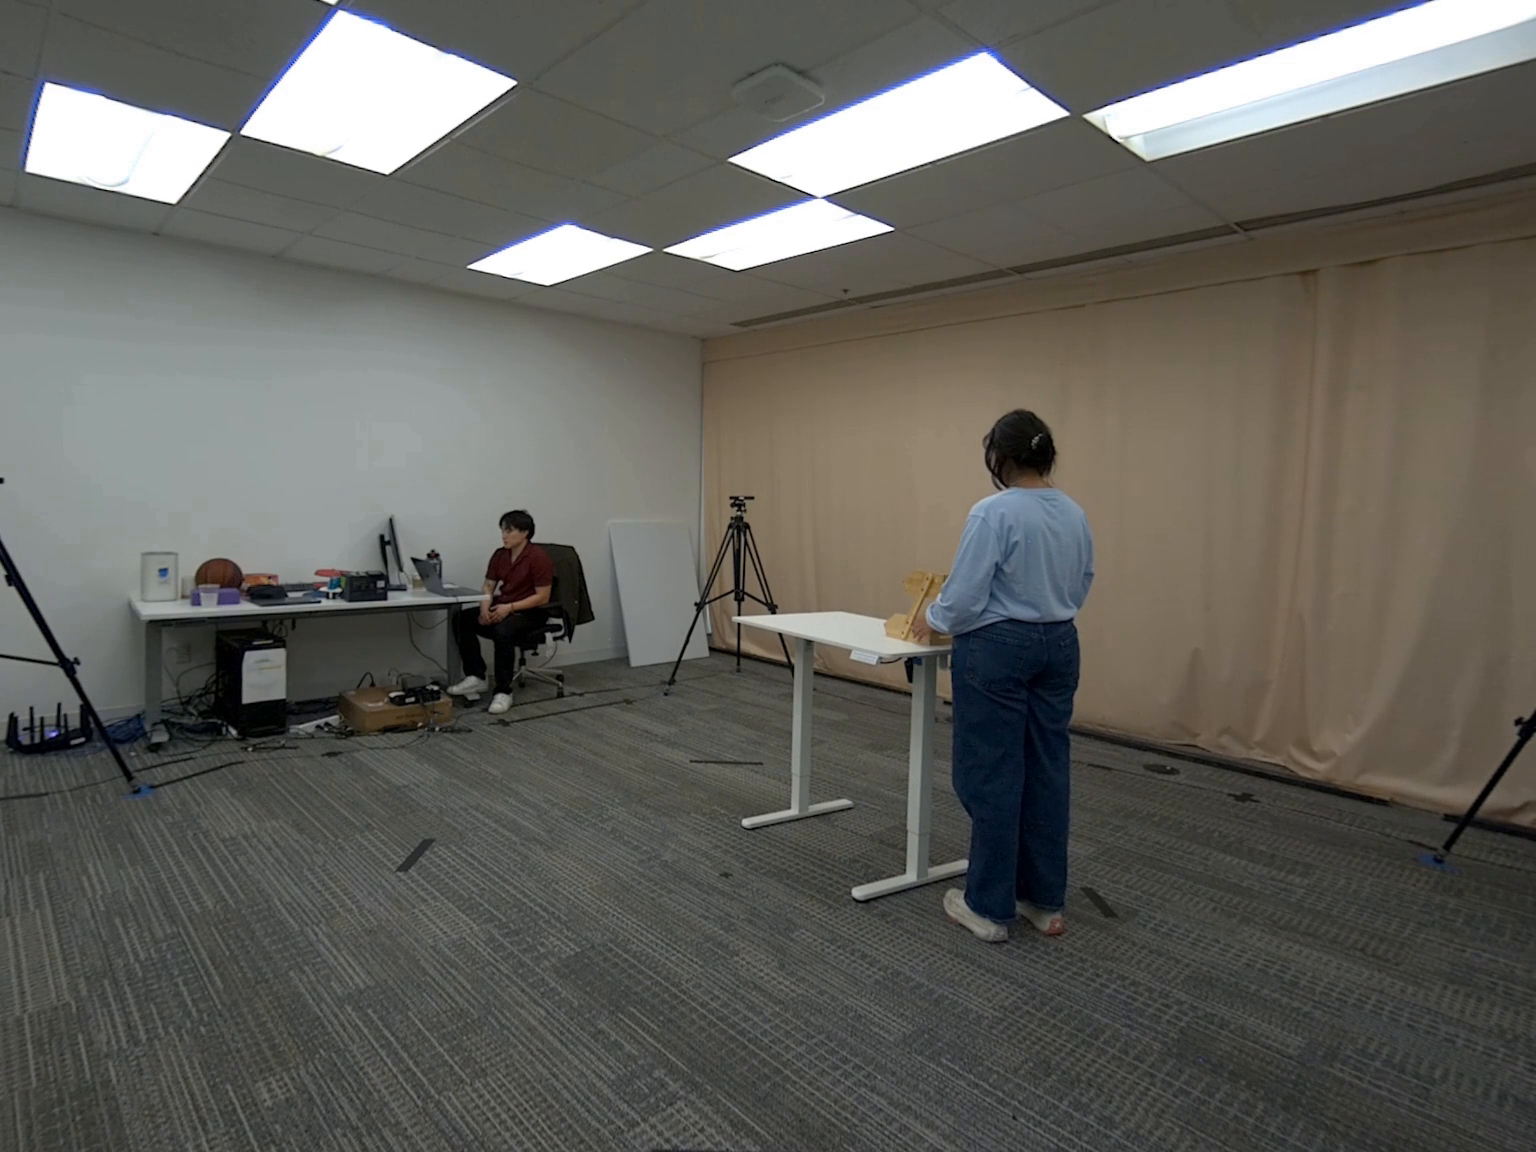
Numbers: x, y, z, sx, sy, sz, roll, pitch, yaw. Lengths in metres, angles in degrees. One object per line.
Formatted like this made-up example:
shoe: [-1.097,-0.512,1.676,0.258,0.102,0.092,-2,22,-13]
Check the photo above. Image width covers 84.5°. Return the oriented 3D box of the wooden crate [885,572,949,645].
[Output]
wooden crate: [0.651,0.107,3.131,0.318,0.272,0.309,0,5,-31]
